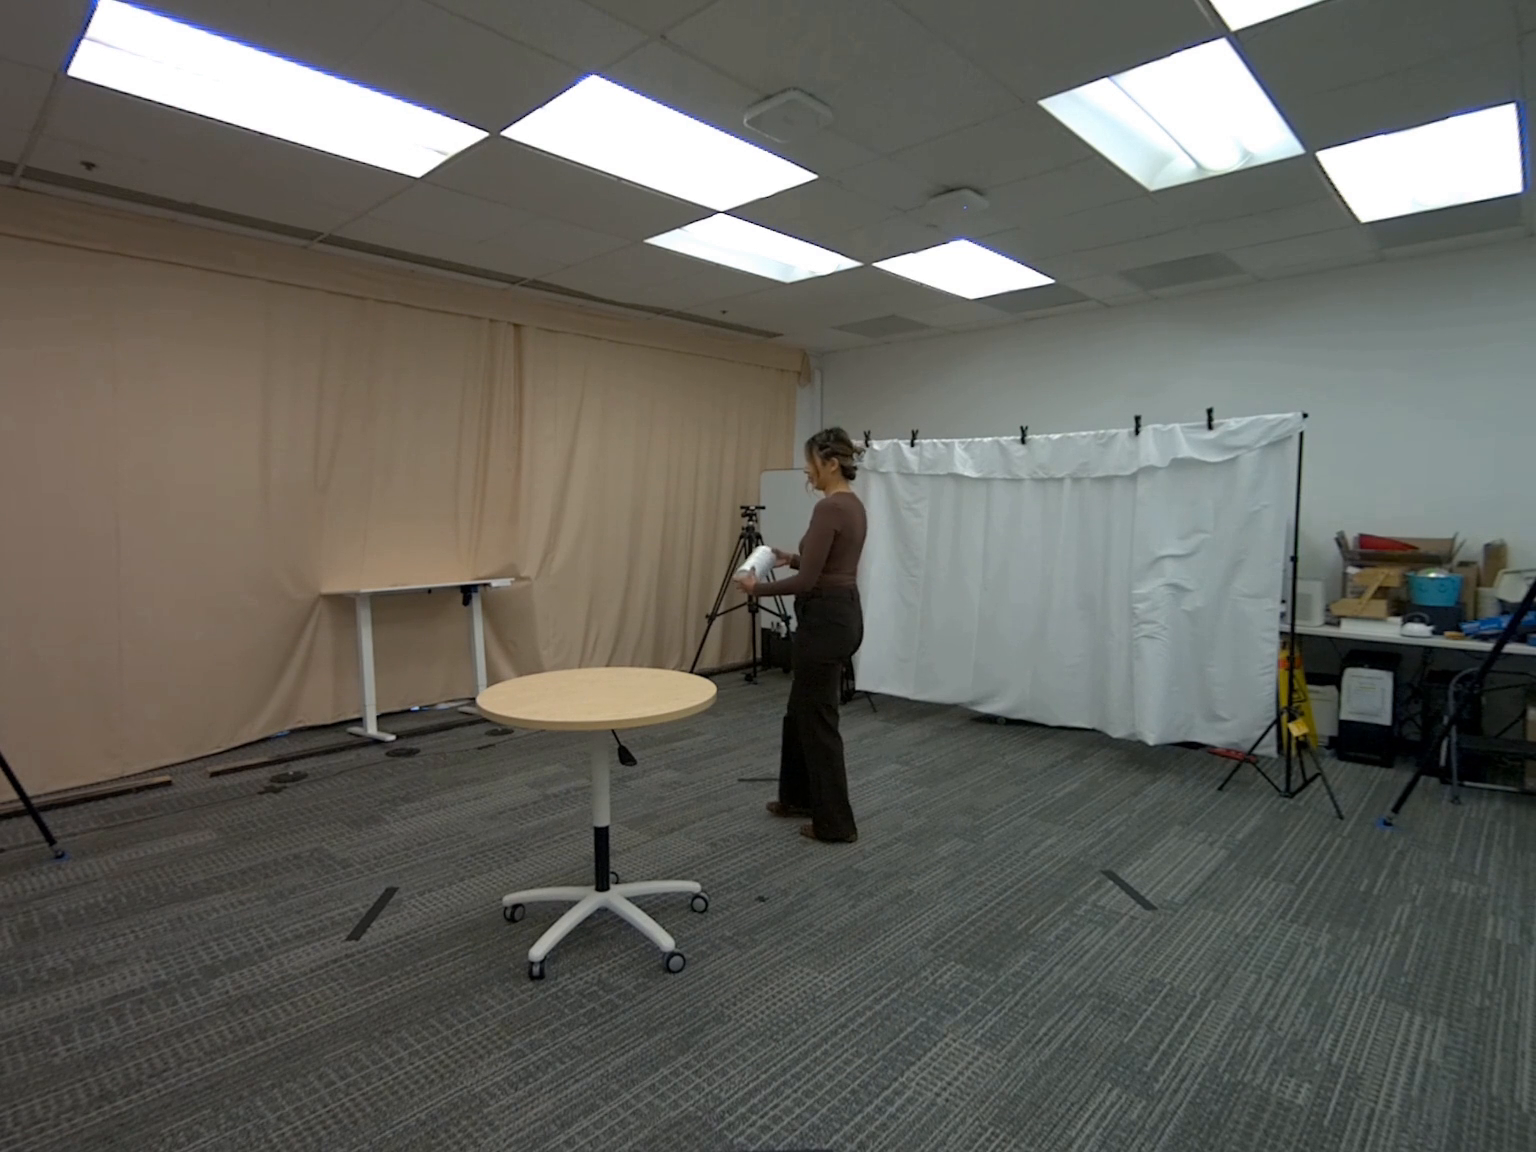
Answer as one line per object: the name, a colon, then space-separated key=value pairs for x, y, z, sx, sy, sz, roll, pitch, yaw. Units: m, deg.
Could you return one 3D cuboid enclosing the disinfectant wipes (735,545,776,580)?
disinfectant wipes: x=-0.048 y=-0.036 z=3.611 sx=0.121 sy=0.115 sz=0.217 roll=1 pitch=34 yaw=24
